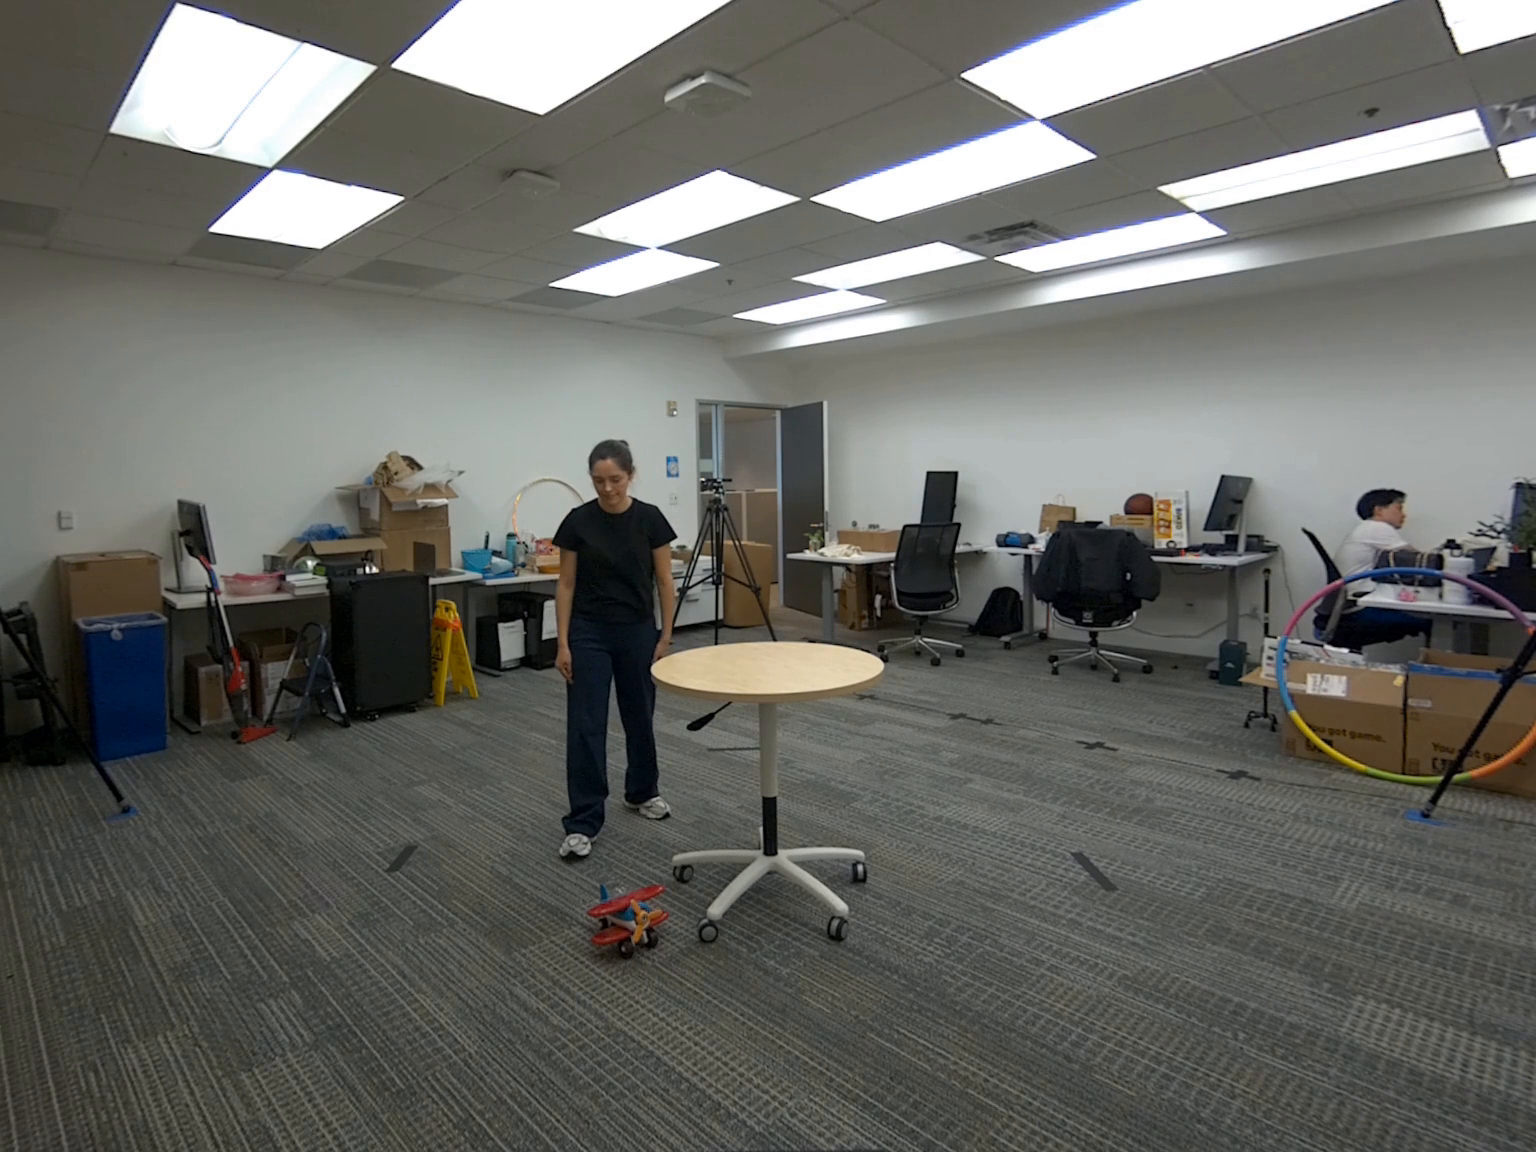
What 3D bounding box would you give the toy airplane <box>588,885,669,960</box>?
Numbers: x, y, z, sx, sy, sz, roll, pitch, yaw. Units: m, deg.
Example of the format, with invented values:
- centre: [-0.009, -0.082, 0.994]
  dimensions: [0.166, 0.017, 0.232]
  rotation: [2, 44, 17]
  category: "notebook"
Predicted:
- centre: [-0.449, 1.038, 2.599]
  dimensions: [0.265, 0.155, 0.247]
  rotation: [4, 8, 22]
  category: "toy airplane"
